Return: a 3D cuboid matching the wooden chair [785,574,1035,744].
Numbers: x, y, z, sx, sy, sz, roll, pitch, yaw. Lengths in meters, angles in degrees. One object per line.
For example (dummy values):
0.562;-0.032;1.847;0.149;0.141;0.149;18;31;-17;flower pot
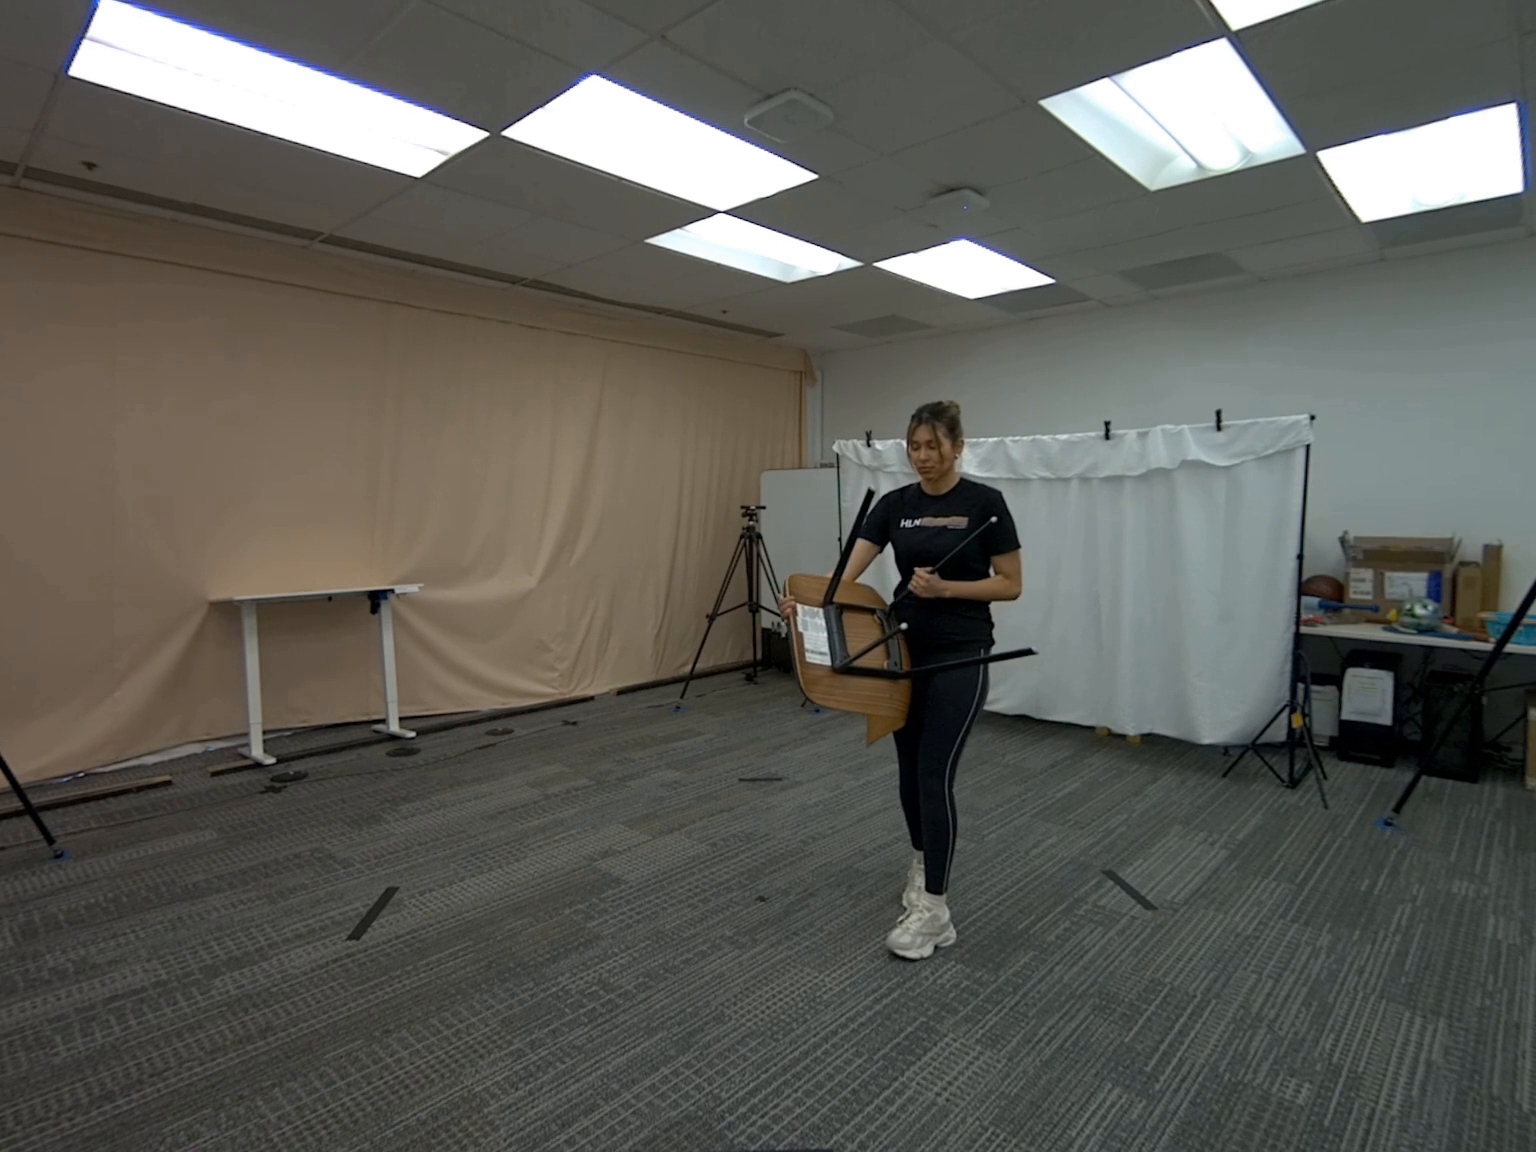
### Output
0.301;0.196;2.613;0.511;0.488;0.880;8;-35;-23;wooden chair
